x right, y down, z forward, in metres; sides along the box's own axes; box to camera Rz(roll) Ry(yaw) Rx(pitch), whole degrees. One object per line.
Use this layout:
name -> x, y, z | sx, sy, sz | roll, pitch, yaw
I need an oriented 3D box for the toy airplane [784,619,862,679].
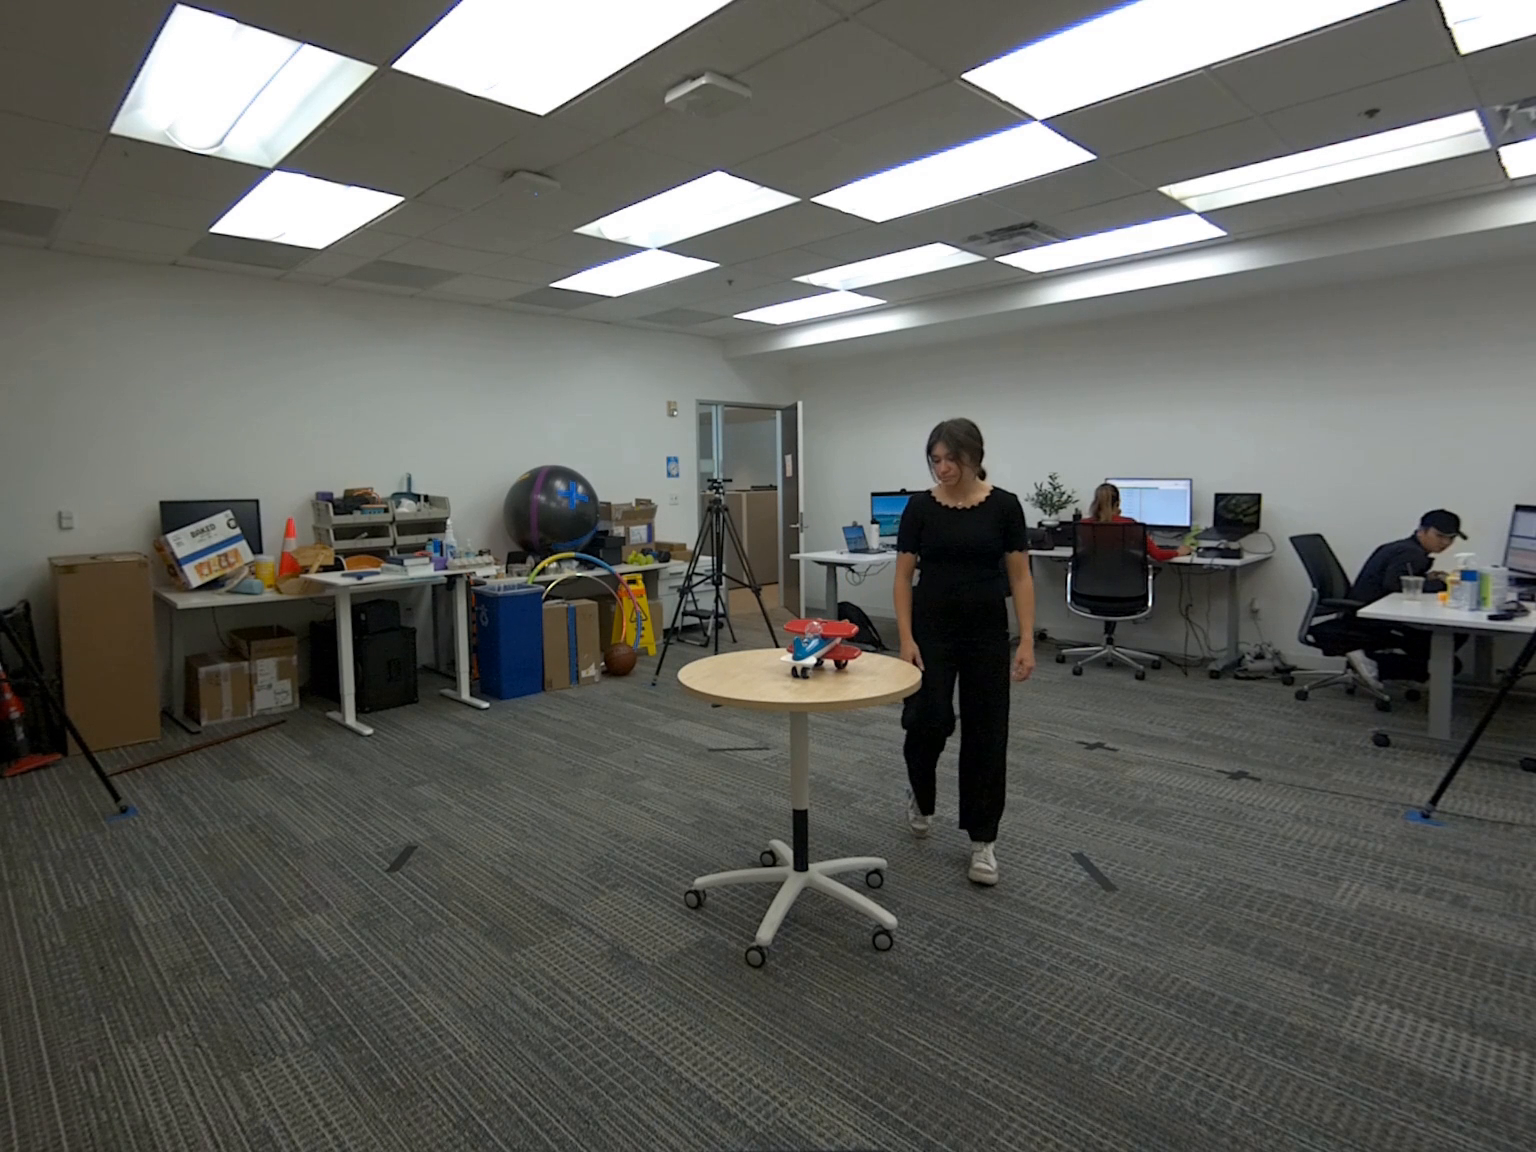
toy airplane -> 0.175, 0.225, 2.689 | 0.253, 0.156, 0.258 | -1, 5, 6
